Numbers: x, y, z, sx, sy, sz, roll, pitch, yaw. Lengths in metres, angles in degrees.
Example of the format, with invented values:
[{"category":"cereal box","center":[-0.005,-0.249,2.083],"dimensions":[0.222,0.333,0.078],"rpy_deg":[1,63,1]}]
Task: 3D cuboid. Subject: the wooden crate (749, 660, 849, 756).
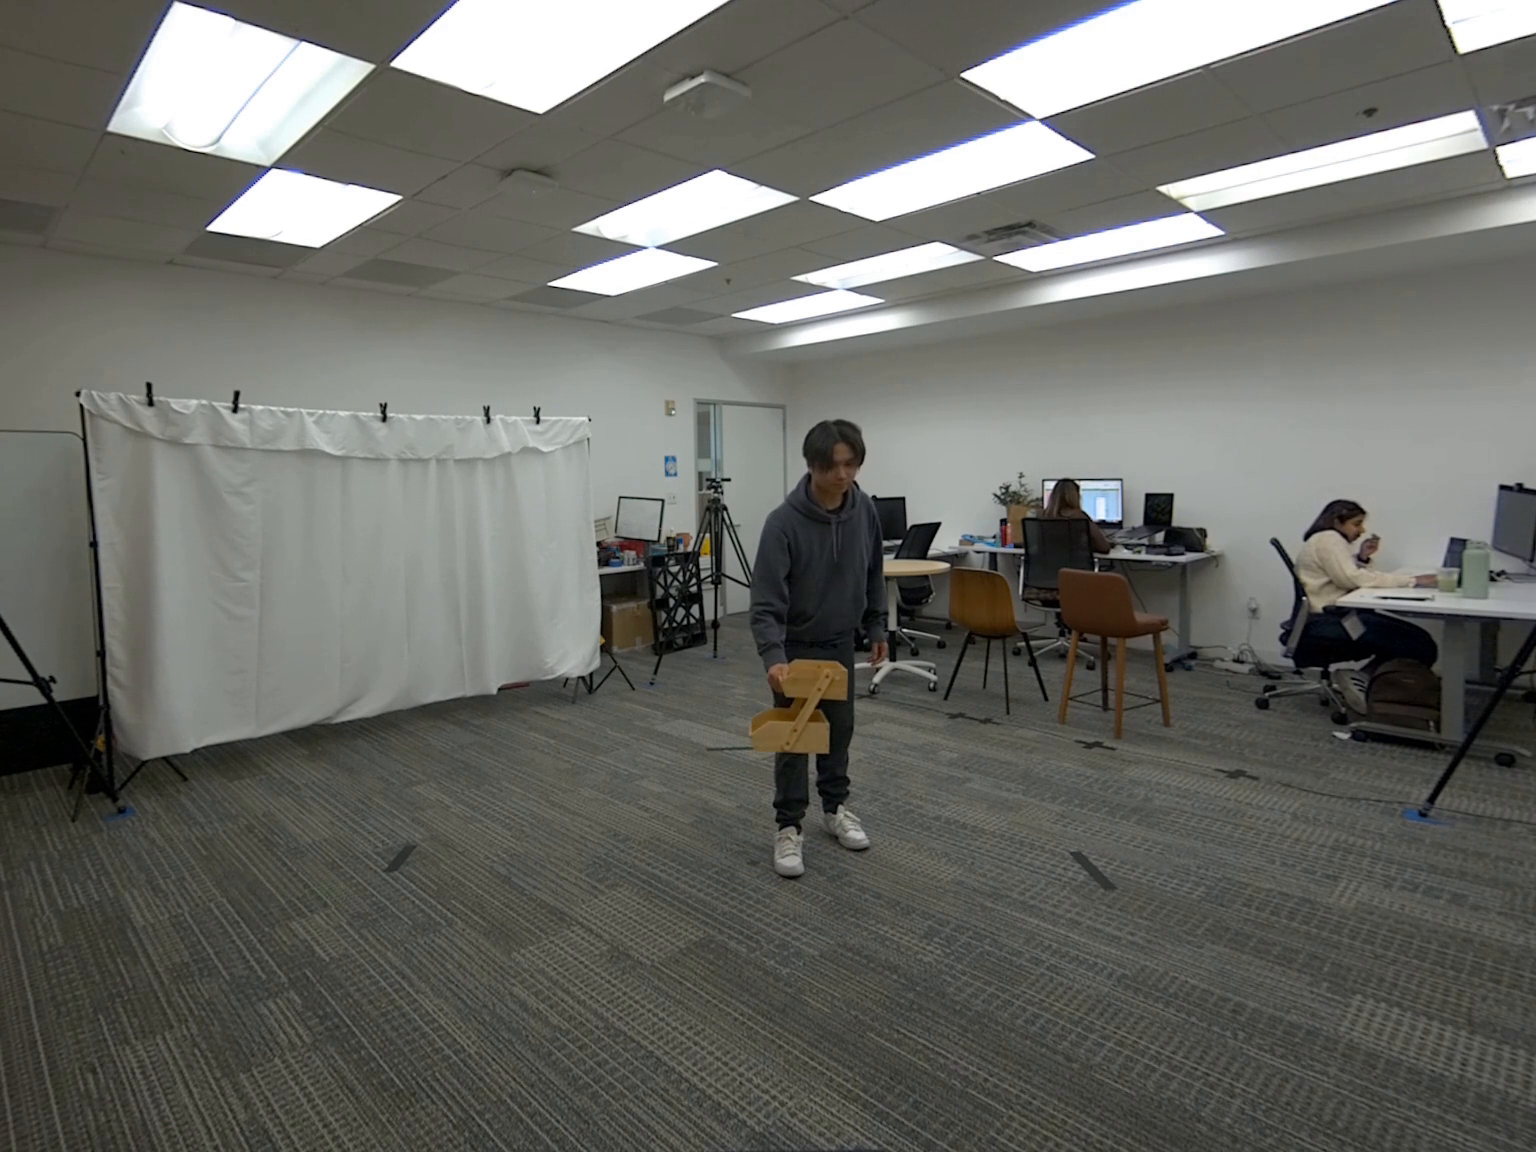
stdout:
[{"category":"wooden crate","center":[0.073,0.418,2.806],"dimensions":[0.302,0.274,0.323],"rpy_deg":[1,-2,0]}]
